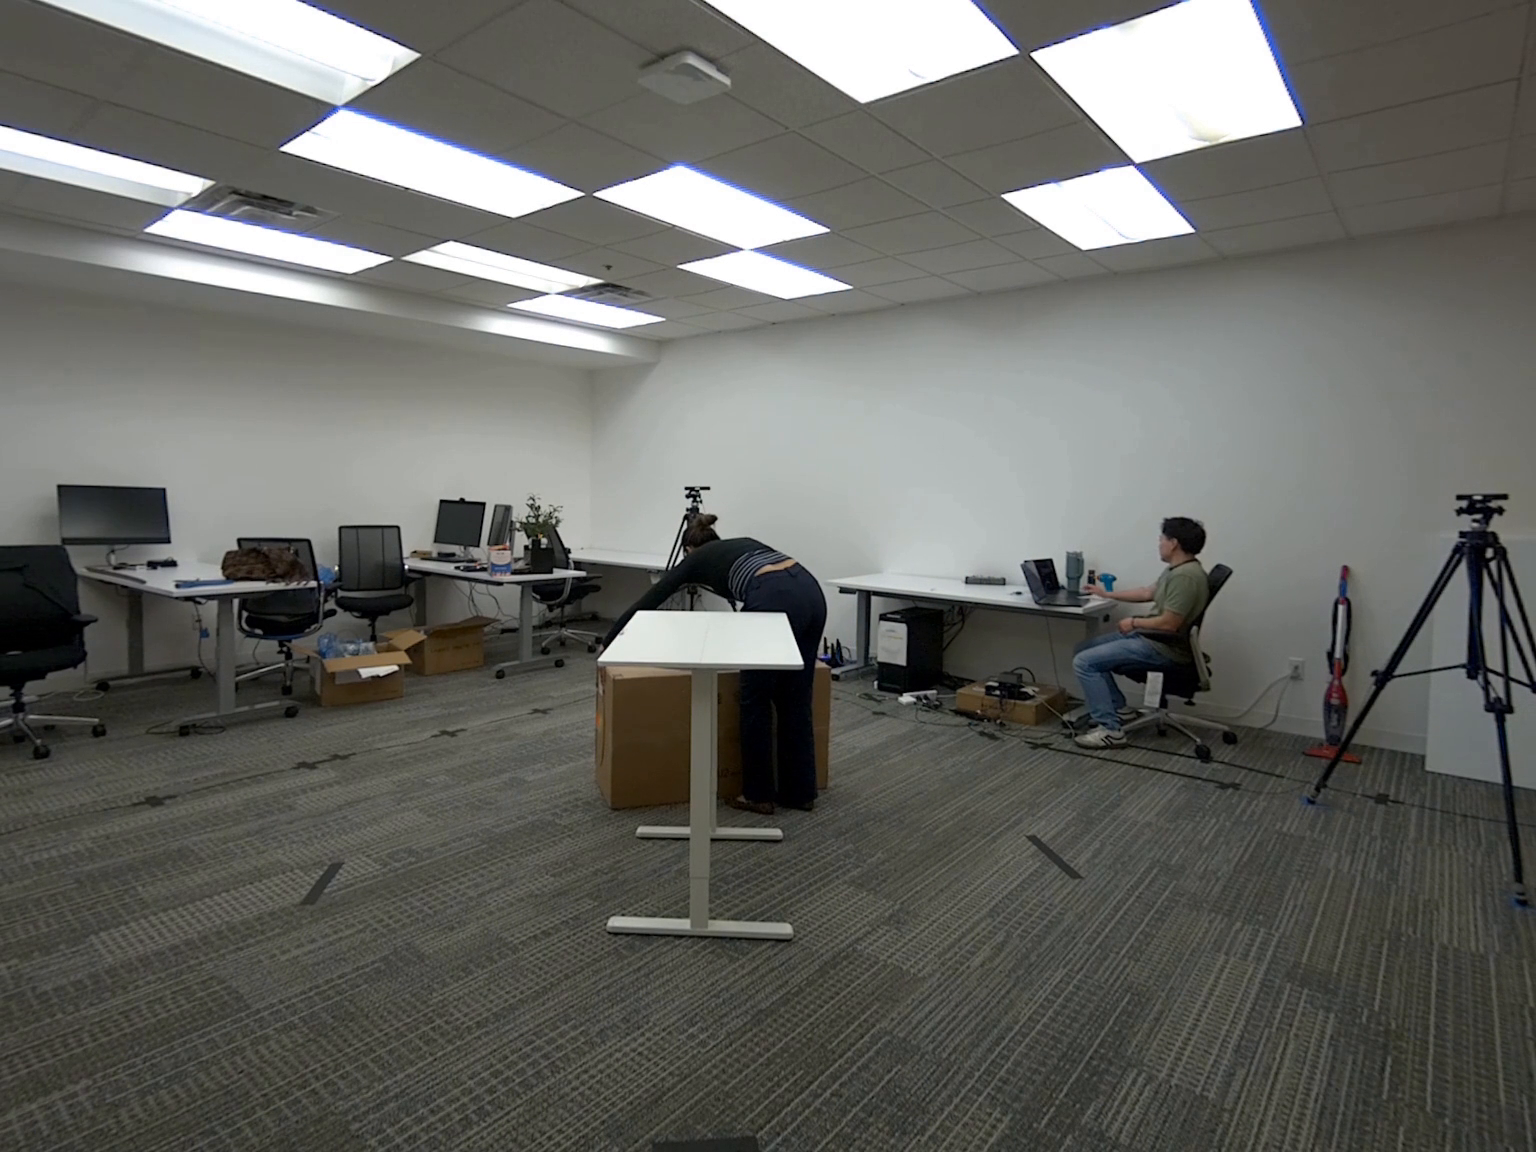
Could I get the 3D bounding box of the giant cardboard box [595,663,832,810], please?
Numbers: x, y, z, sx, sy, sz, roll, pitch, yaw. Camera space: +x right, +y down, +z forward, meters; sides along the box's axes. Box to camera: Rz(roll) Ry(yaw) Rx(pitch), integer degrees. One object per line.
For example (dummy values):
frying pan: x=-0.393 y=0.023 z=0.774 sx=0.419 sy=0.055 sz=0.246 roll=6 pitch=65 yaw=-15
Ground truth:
giant cardboard box: x=-0.282 y=0.682 z=3.993 sx=1.007 sy=0.576 sz=0.435 roll=-1 pitch=4 yaw=-18
